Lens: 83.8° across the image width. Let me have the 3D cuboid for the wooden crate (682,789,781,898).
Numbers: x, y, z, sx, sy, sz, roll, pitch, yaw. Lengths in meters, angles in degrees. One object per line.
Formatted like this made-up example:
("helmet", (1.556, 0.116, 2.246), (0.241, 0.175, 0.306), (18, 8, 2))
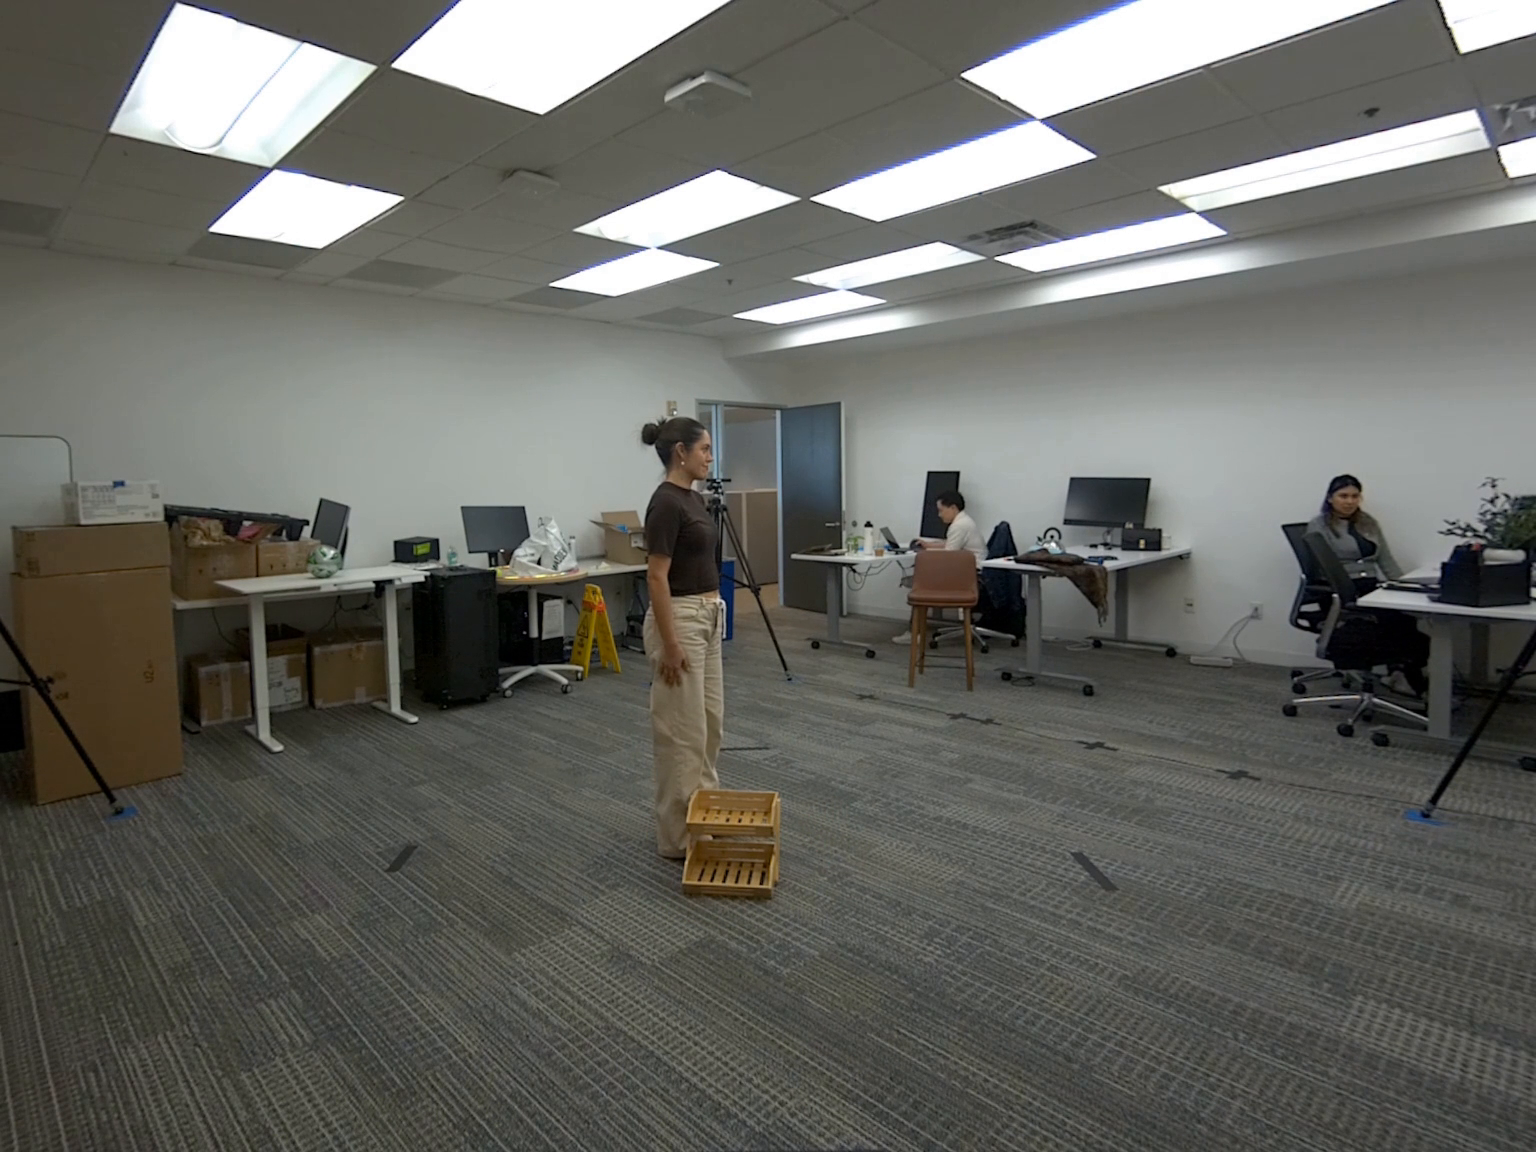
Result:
("wooden crate", (-0.119, 0.927, 2.976), (0.327, 0.272, 0.300), (-1, 4, 7))
